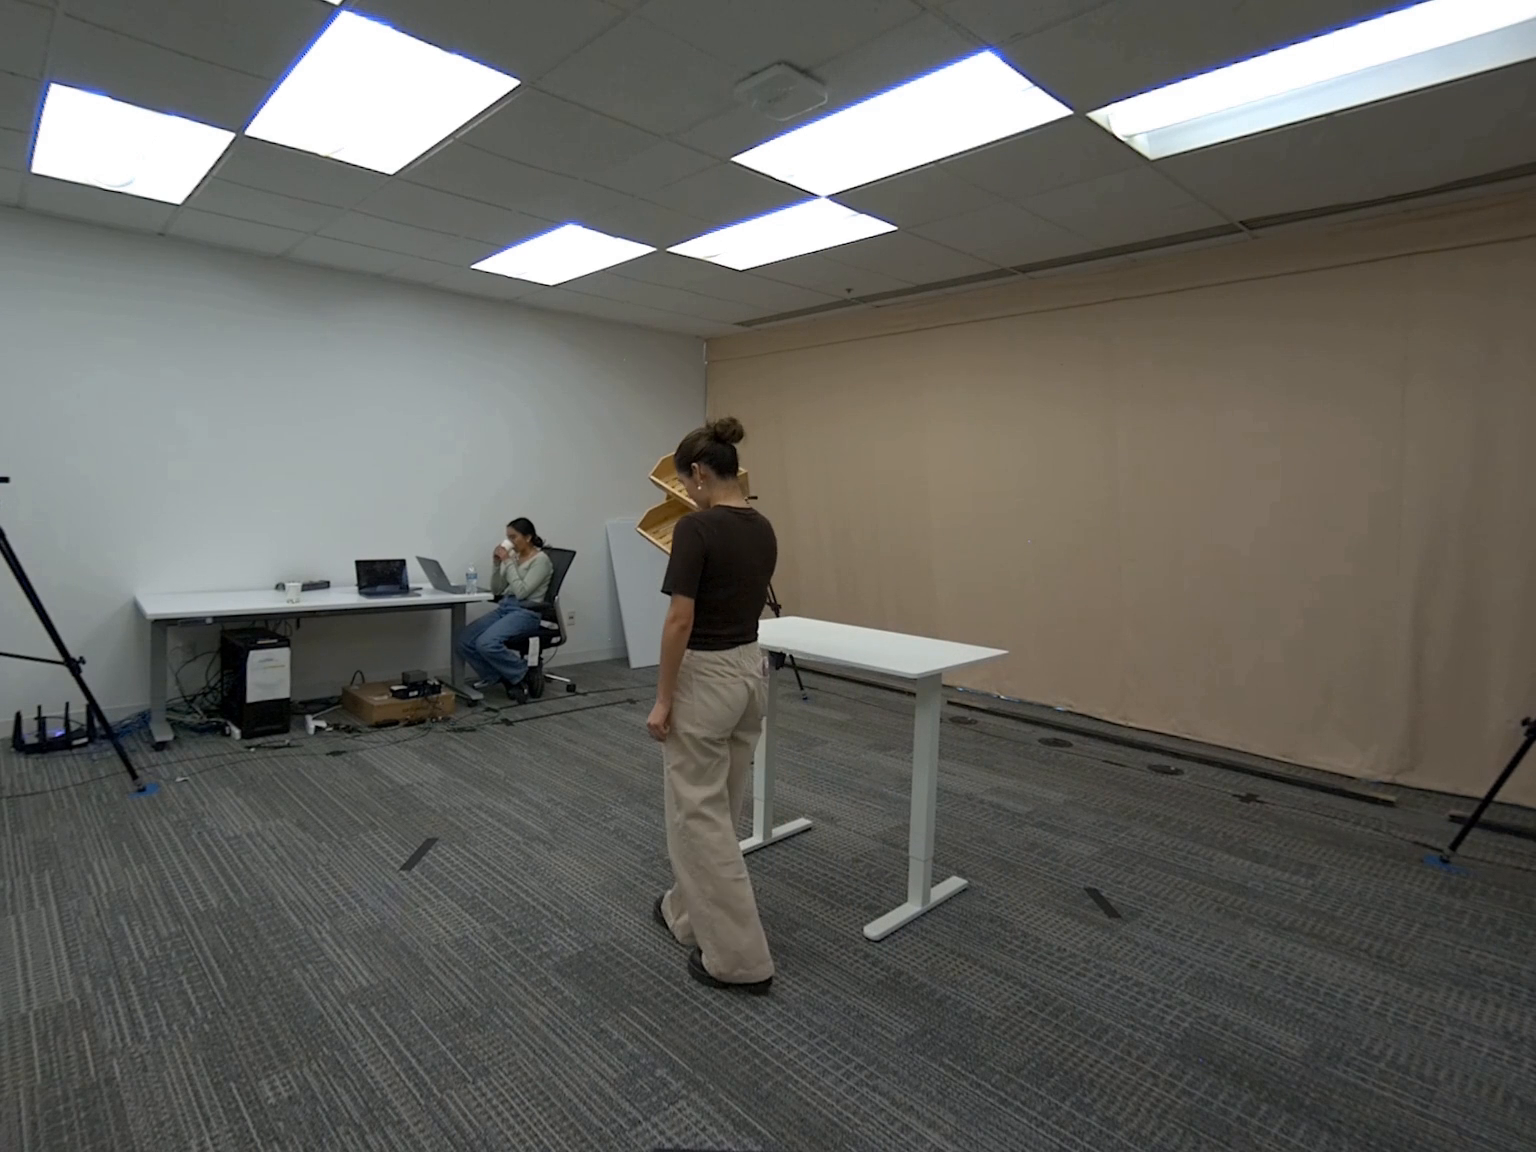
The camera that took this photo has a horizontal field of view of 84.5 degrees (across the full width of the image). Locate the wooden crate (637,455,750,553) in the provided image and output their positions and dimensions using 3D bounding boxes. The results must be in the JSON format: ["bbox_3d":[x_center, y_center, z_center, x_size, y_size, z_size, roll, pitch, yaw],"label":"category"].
[{"bbox_3d":[-0.273,-0.242,2.874,0.299,0.267,0.335,-29,41,-28],"label":"wooden crate"}]
